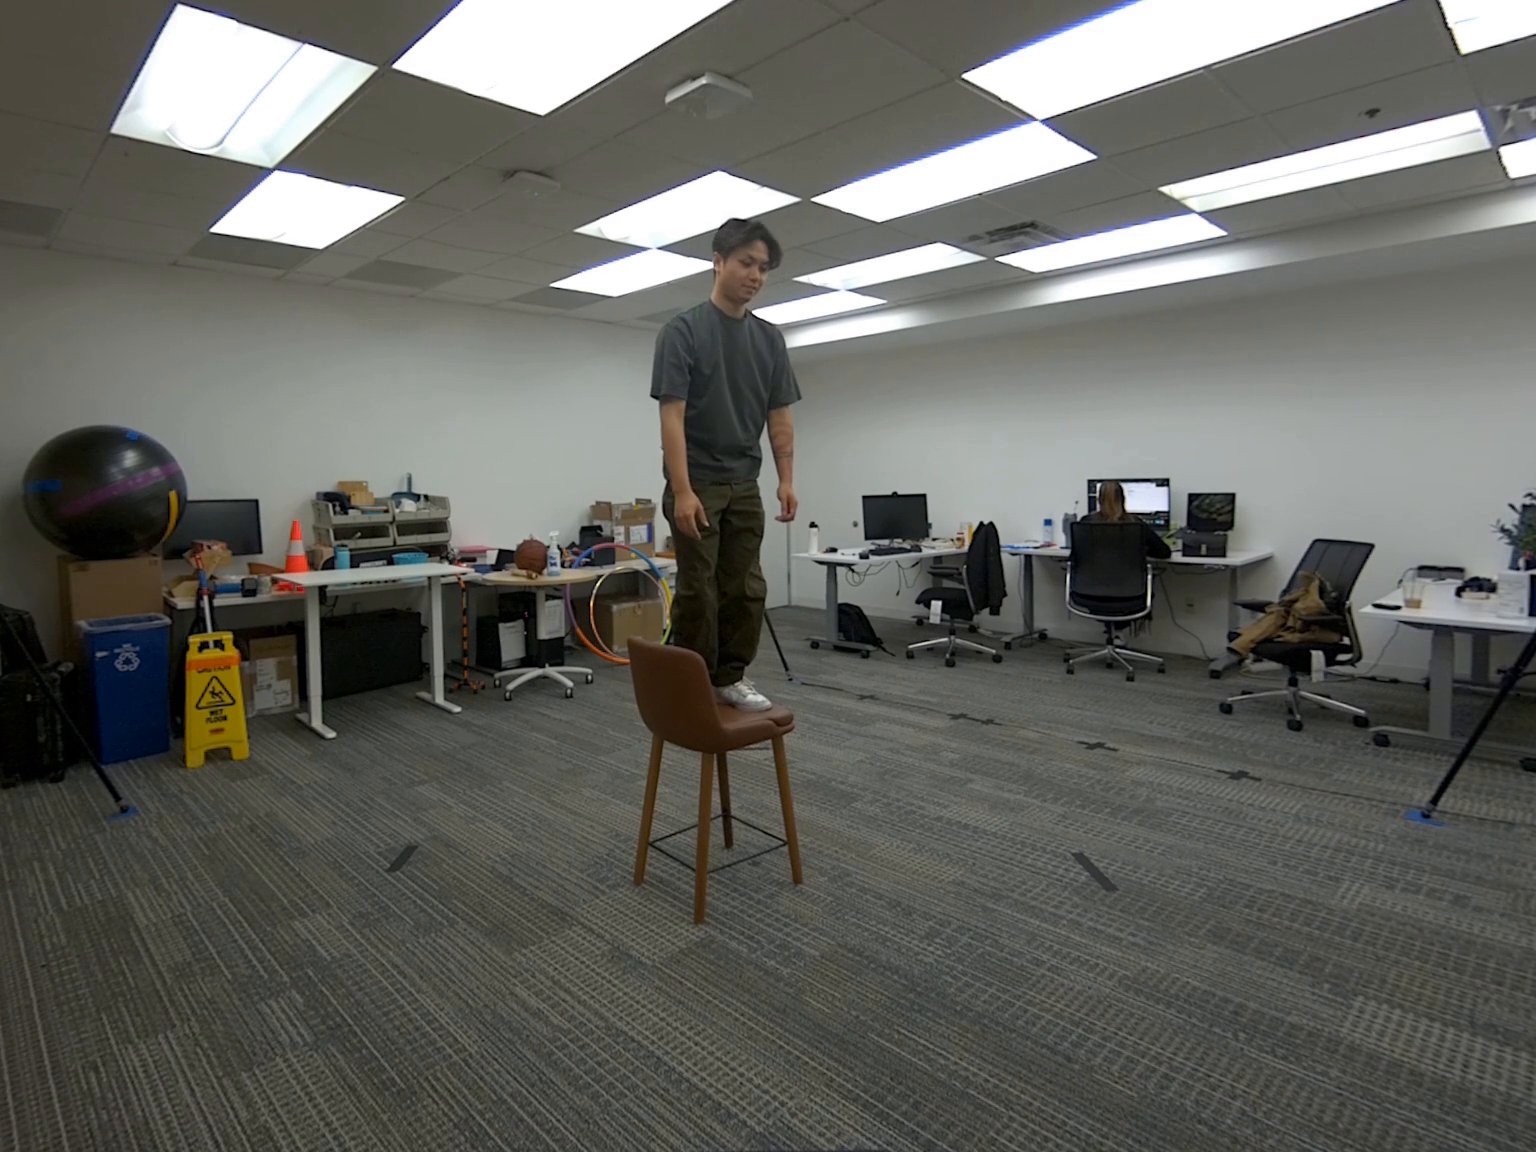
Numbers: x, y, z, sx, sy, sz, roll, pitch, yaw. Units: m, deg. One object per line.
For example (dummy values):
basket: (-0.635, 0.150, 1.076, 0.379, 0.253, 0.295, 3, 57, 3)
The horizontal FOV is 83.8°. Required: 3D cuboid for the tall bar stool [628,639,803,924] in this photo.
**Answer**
tall bar stool: (-0.187, 0.630, 2.937, 0.456, 0.885, 0.470, -6, 7, -40)
